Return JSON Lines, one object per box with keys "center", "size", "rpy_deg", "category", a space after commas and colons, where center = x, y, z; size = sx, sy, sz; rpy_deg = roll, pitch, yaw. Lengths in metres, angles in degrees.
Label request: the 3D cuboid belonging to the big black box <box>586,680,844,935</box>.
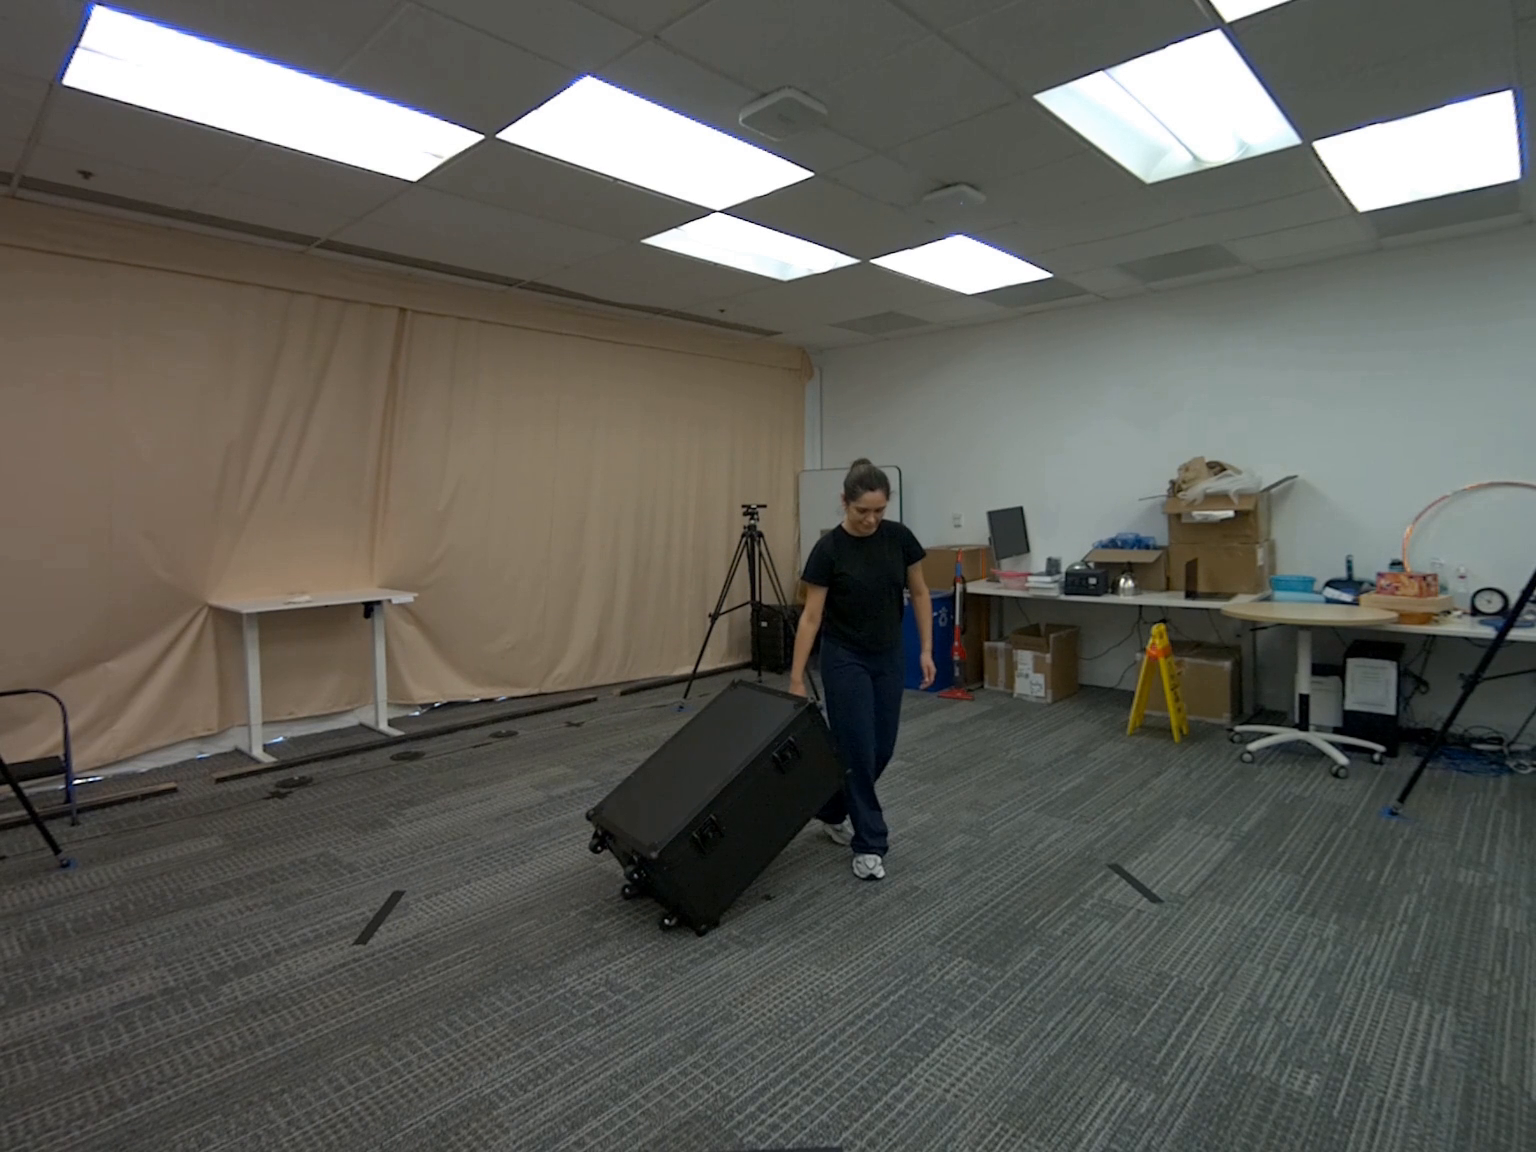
{"center": [-0.179, 0.812, 3.027], "size": [0.852, 0.388, 0.538], "rpy_deg": [-40, 25, -27], "category": "big black box"}
